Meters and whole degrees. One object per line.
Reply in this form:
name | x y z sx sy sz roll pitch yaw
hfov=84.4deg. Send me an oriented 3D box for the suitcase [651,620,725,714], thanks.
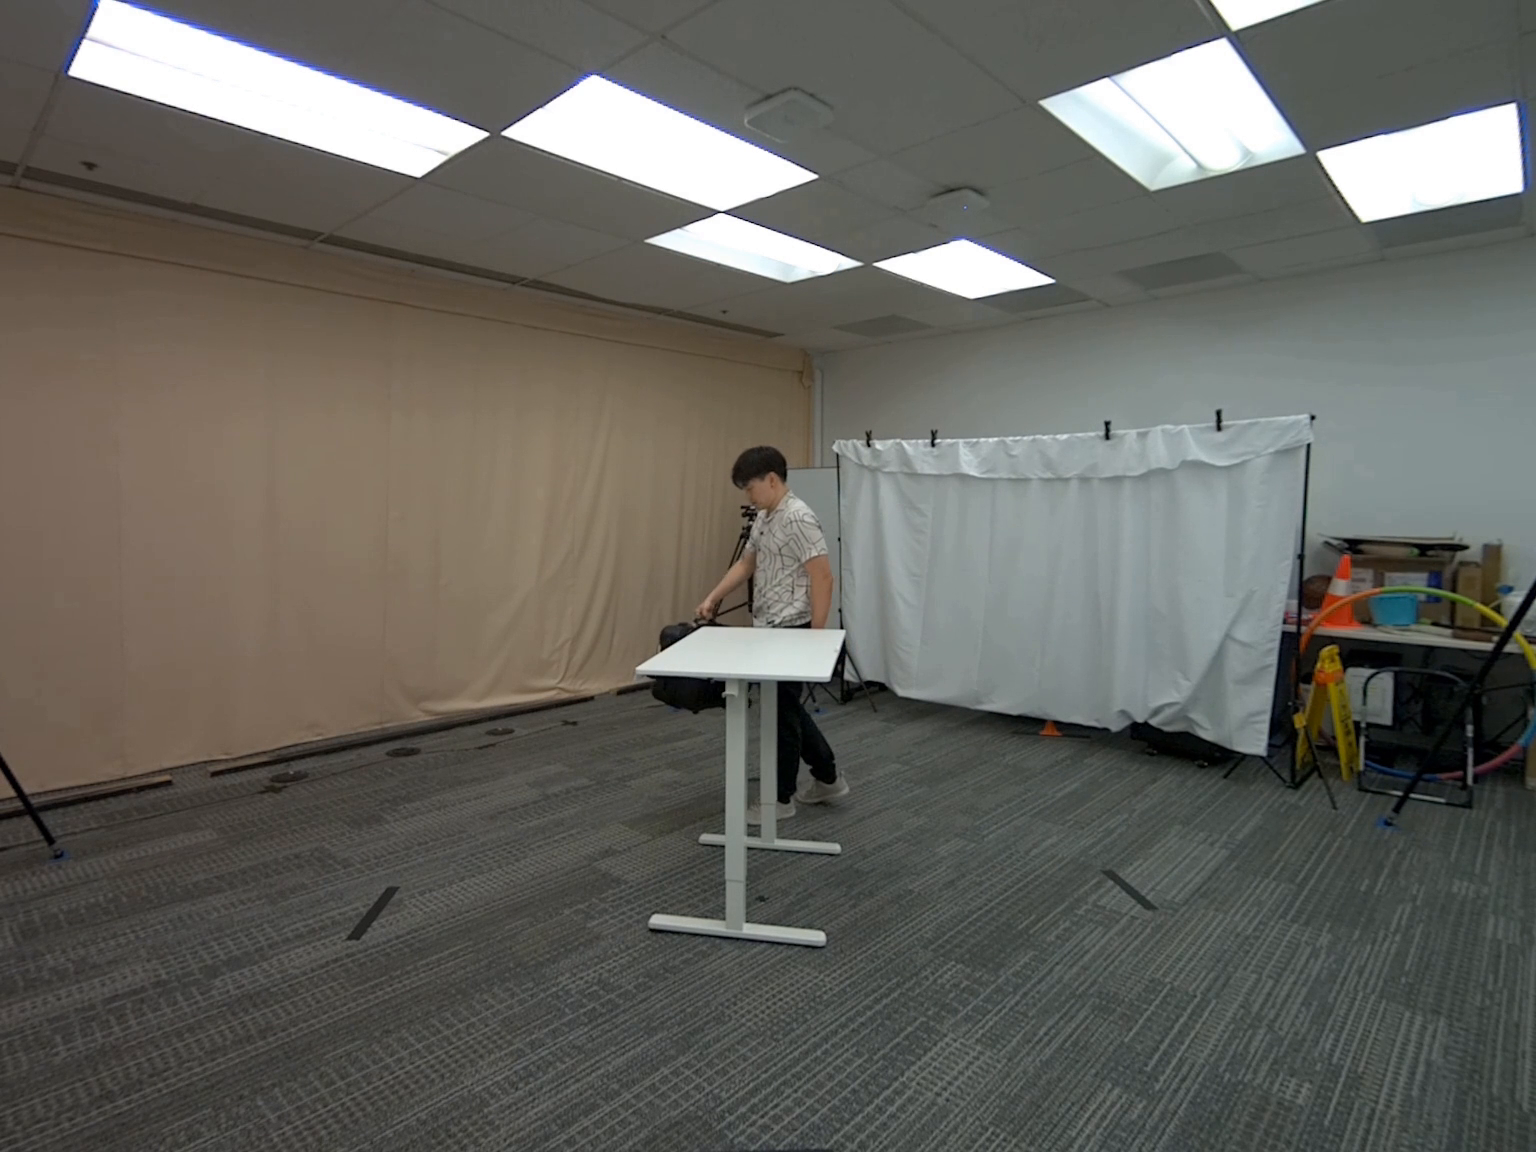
suitcase | -0.291 0.404 3.861 0.256 0.375 0.533 10 0 27
